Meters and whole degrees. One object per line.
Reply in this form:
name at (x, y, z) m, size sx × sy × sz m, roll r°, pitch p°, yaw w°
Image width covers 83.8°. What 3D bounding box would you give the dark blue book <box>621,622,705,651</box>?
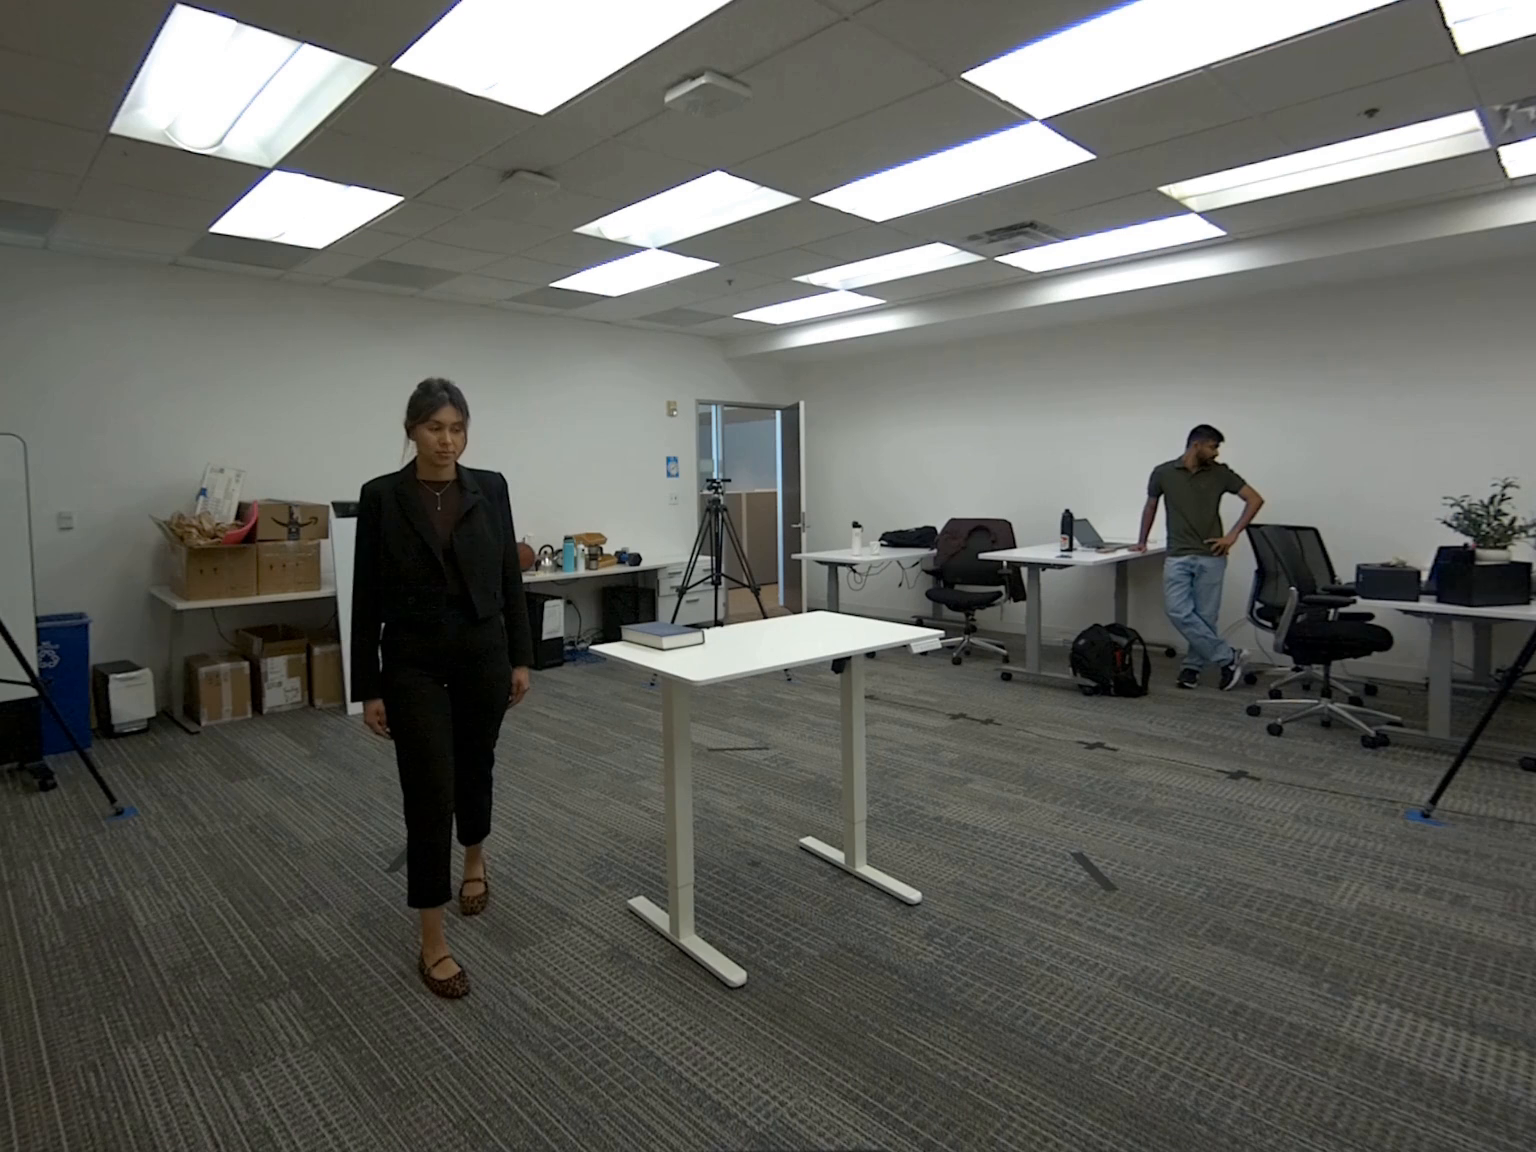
dark blue book at (-0.341, 0.190, 2.741) m, size 0.159 × 0.045 × 0.253 m, roll -6°, pitch 8°, yaw -40°
